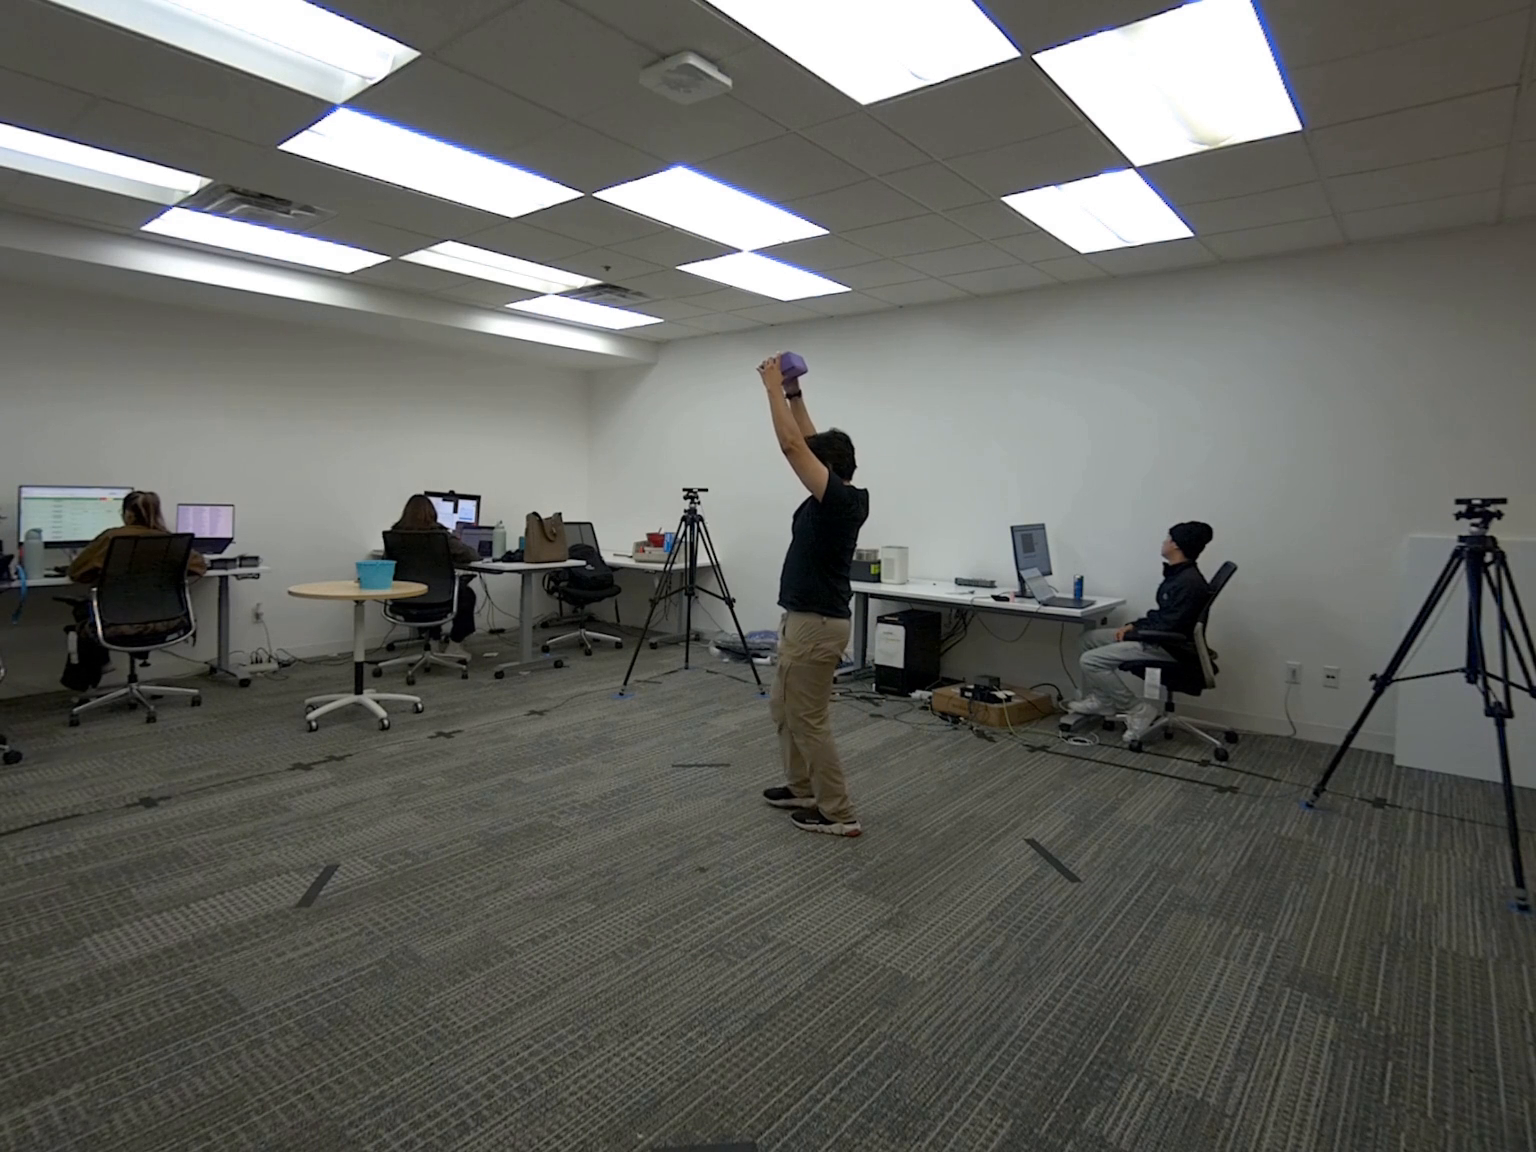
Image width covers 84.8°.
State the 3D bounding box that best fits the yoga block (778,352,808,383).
[{"bbox_3d":[0.051,-0.855,3.506,0.150,0.076,0.226,-24,0,19],"label":"yoga block"}]
